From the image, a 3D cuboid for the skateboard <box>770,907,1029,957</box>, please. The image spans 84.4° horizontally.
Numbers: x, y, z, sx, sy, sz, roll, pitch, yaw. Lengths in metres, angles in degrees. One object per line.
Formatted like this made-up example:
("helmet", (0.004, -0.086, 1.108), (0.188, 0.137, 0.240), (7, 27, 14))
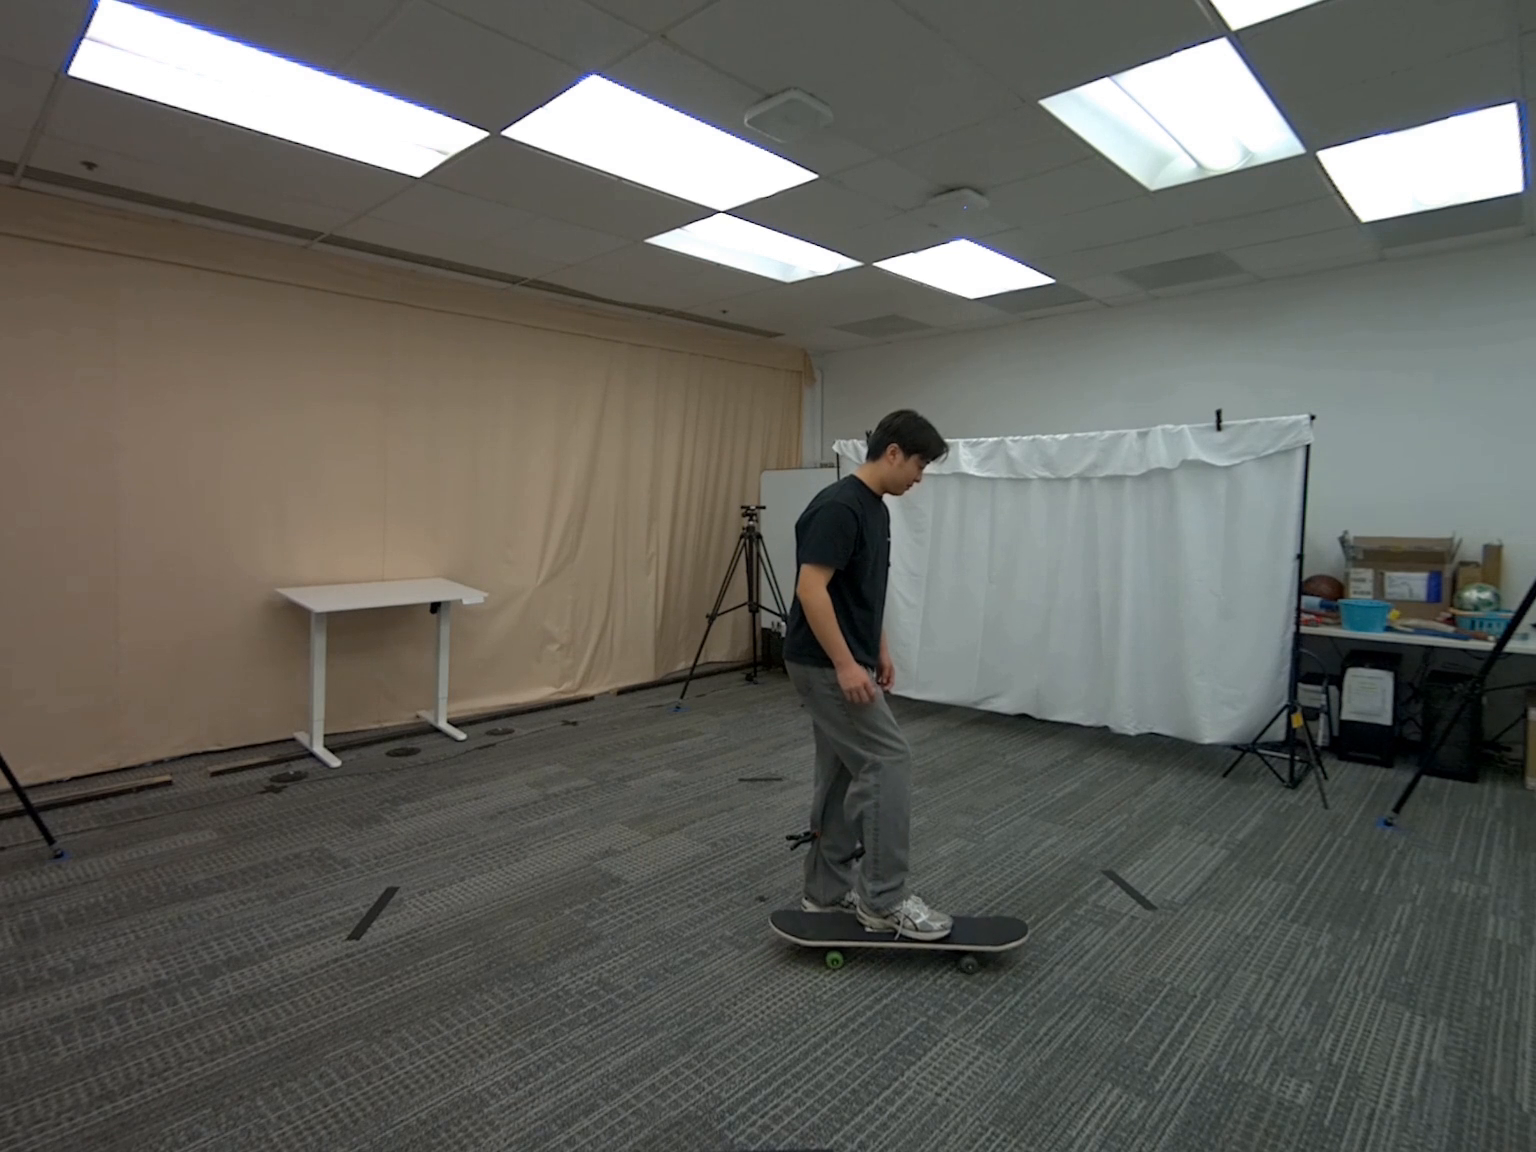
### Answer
("skateboard", (0.406, 1.118, 2.595), (0.787, 0.110, 0.193), (0, 4, 2))
